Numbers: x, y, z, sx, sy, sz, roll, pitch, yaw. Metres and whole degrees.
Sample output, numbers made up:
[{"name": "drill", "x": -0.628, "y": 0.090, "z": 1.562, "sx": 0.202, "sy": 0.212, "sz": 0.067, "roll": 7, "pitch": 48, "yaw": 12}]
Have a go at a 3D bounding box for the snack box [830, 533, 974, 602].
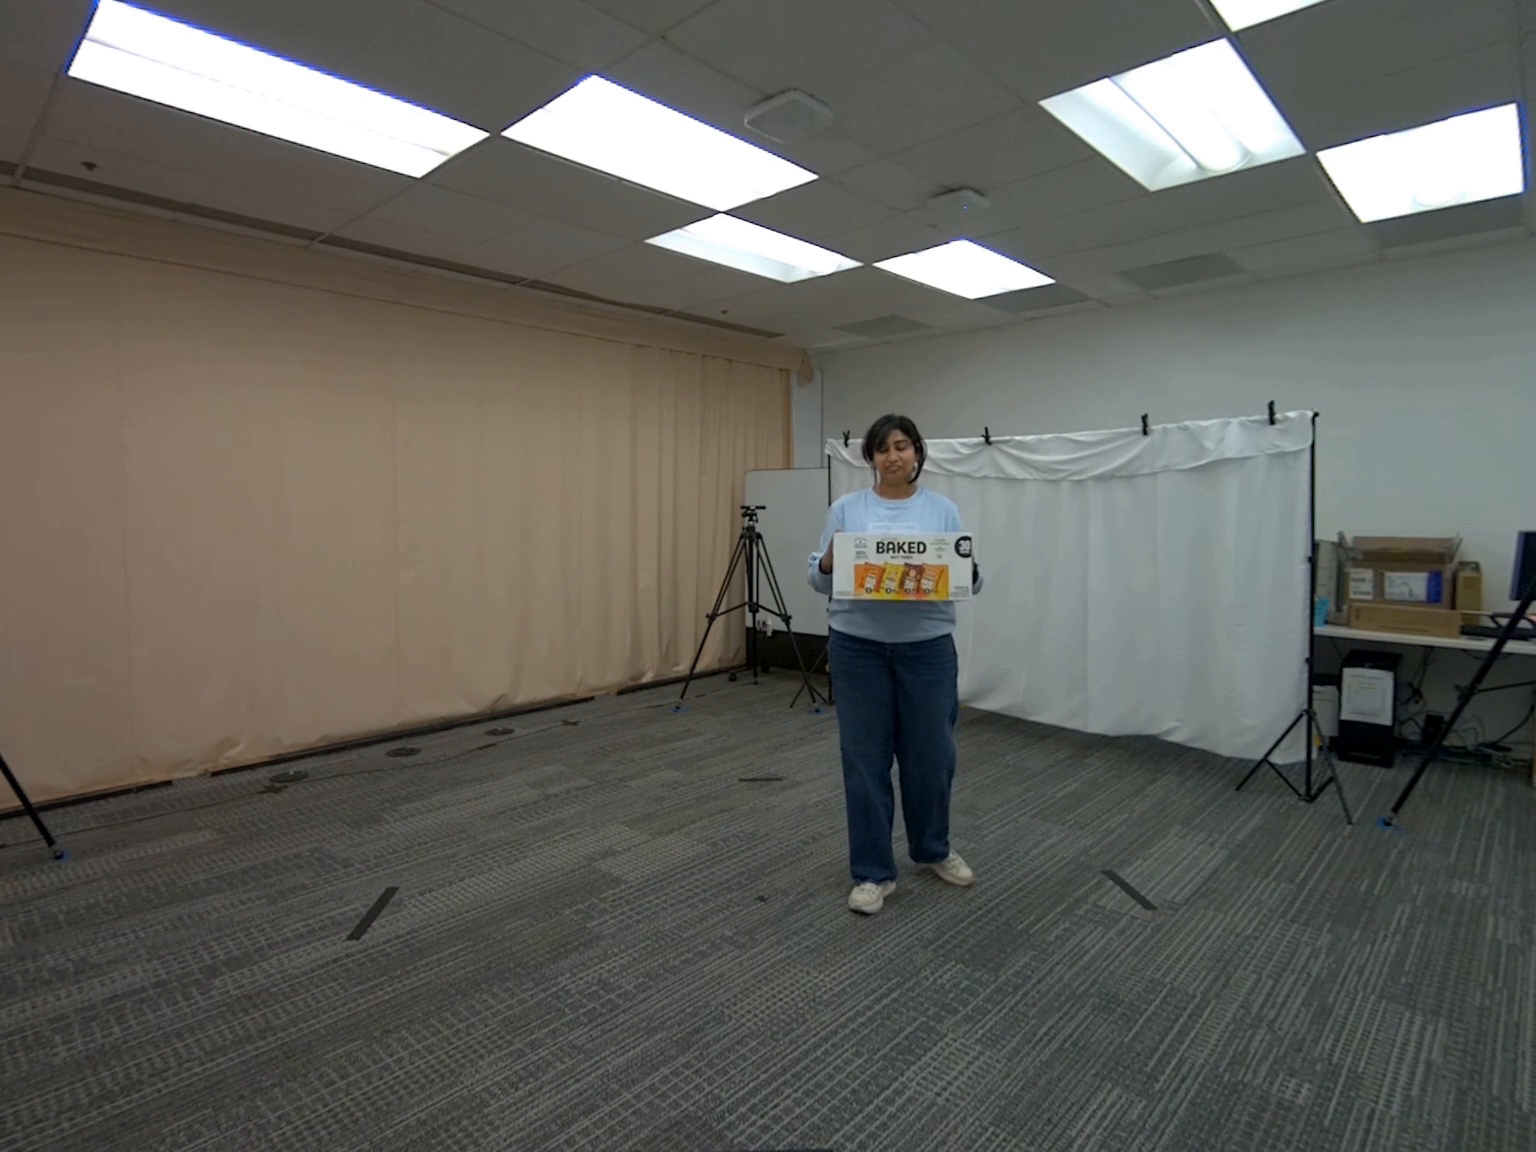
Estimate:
[{"name": "snack box", "x": 0.418, "y": -0.031, "z": 2.665, "sx": 0.409, "sy": 0.205, "sz": 0.337, "roll": 1, "pitch": 1, "yaw": 8}]
